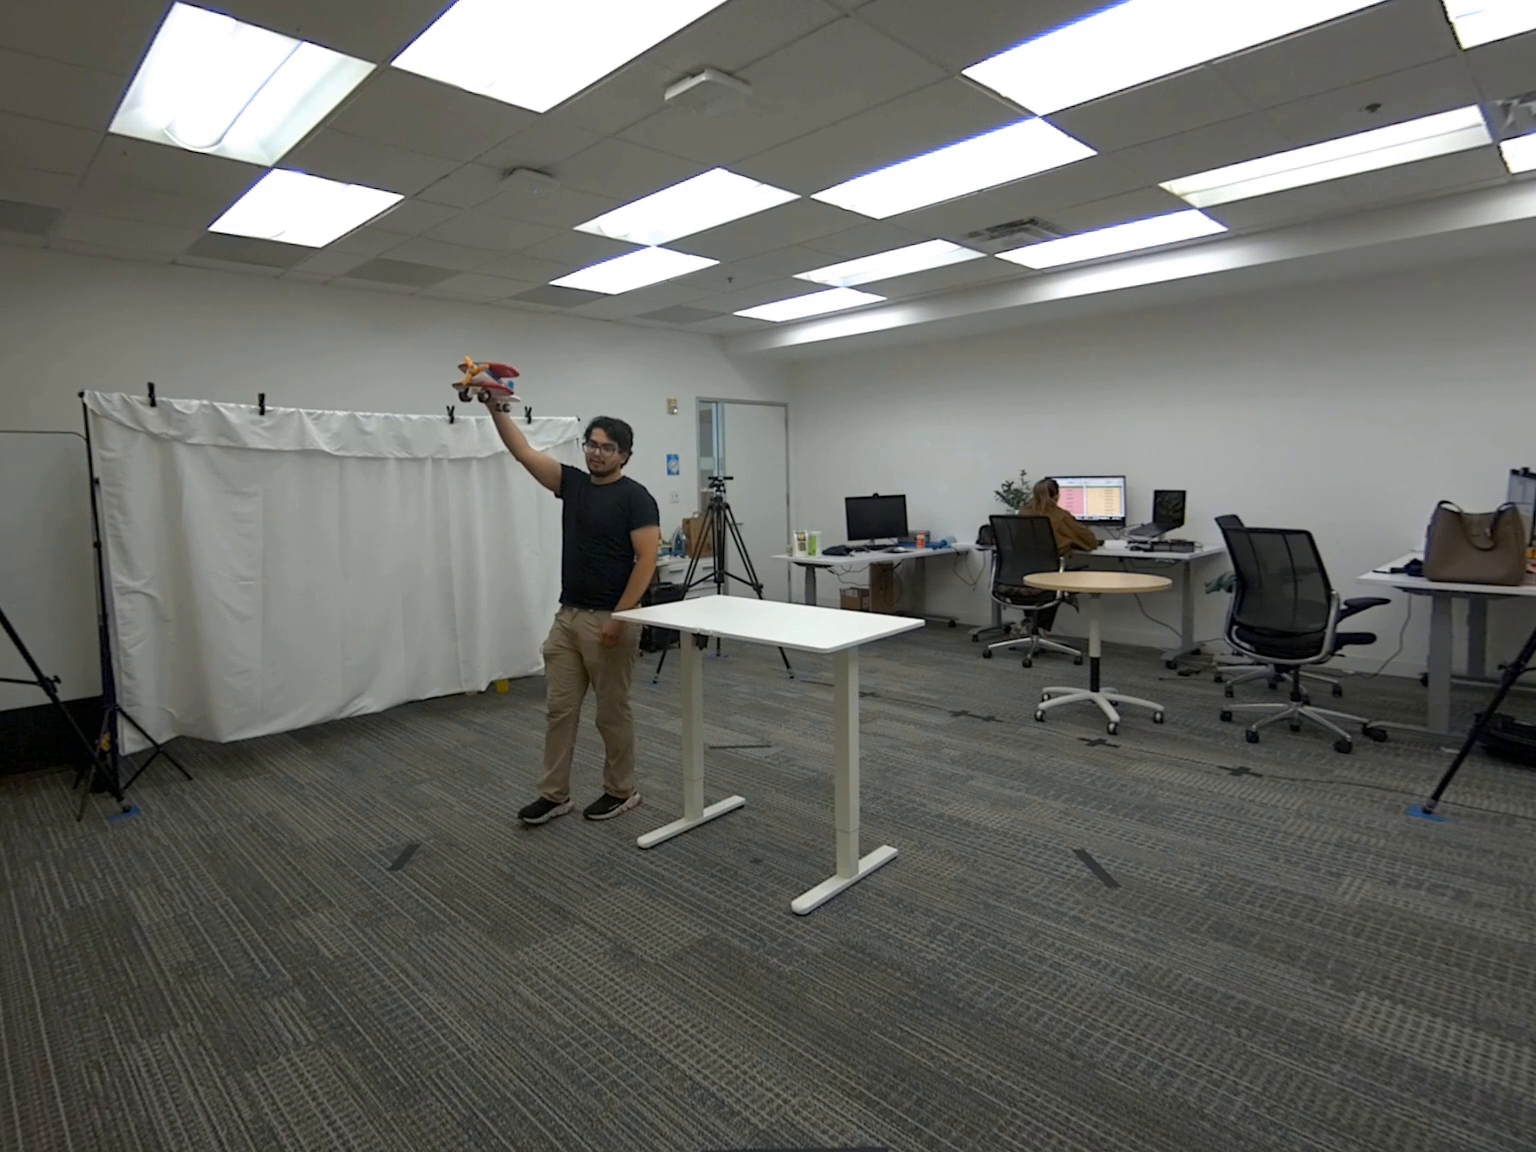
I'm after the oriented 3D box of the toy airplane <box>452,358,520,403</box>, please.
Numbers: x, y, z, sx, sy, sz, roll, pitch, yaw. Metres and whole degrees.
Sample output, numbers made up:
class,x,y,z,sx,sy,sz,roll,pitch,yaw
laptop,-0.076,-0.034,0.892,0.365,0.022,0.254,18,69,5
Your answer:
class,x,y,z,sx,sy,sz,roll,pitch,yaw
toy airplane,-1.069,-0.718,3.235,0.249,0.156,0.261,9,1,-9
